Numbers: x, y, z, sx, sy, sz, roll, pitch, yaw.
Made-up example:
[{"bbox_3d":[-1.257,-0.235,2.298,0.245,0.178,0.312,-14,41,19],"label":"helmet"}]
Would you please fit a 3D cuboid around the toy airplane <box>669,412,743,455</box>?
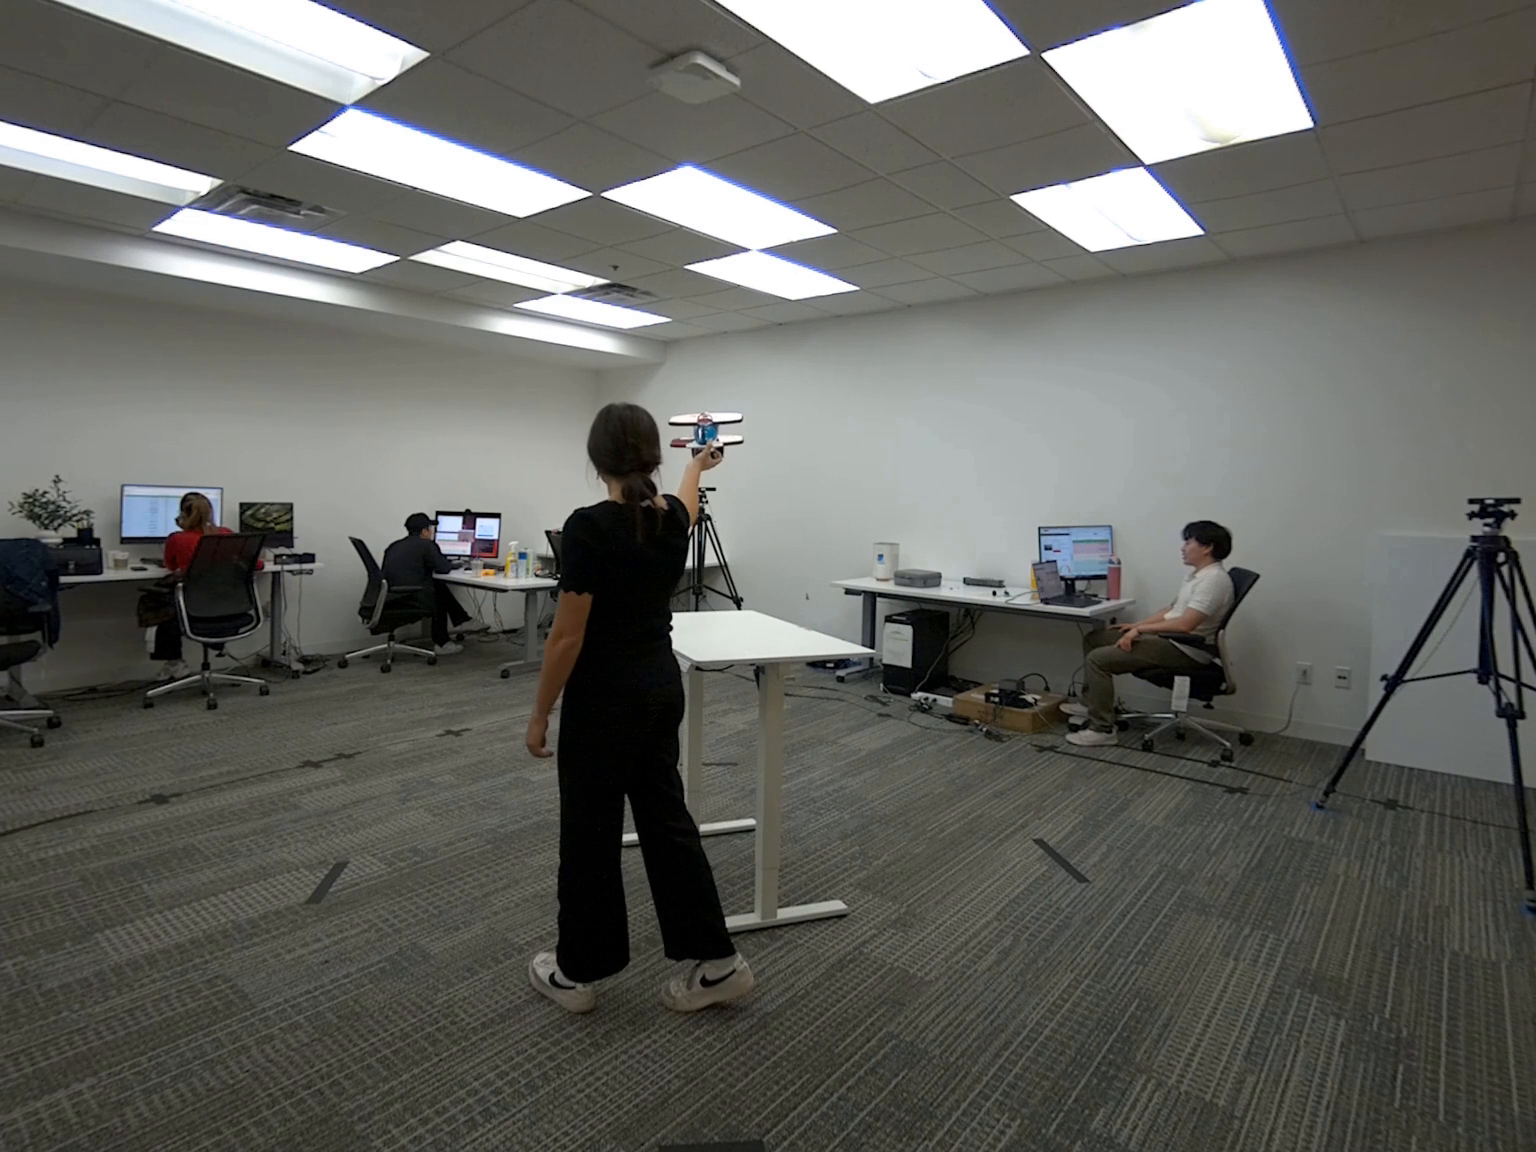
[{"bbox_3d":[-0.206,-0.472,2.879,0.246,0.155,0.268,-9,13,-26],"label":"toy airplane"}]
